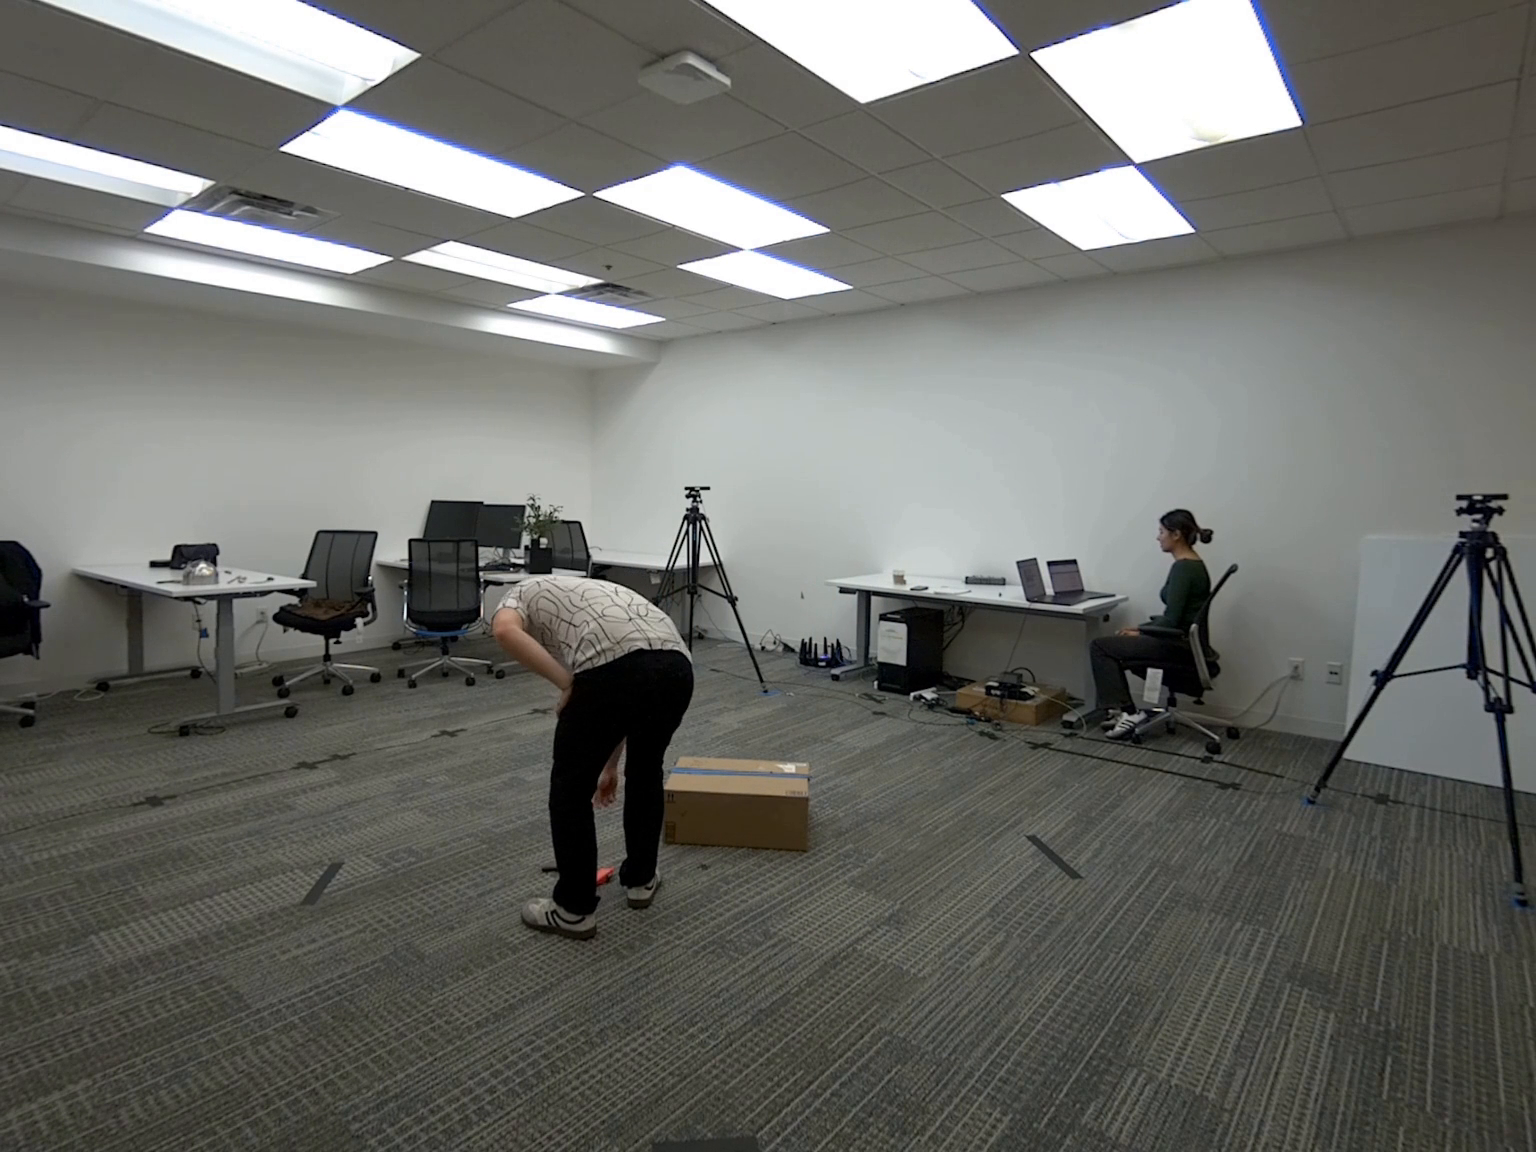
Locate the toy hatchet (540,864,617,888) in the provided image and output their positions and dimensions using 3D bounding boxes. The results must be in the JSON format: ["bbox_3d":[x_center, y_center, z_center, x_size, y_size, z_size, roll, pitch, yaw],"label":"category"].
[{"bbox_3d":[-0.683,1.050,3.013,0.272,0.029,0.131,0,6,6],"label":"toy hatchet"}]
